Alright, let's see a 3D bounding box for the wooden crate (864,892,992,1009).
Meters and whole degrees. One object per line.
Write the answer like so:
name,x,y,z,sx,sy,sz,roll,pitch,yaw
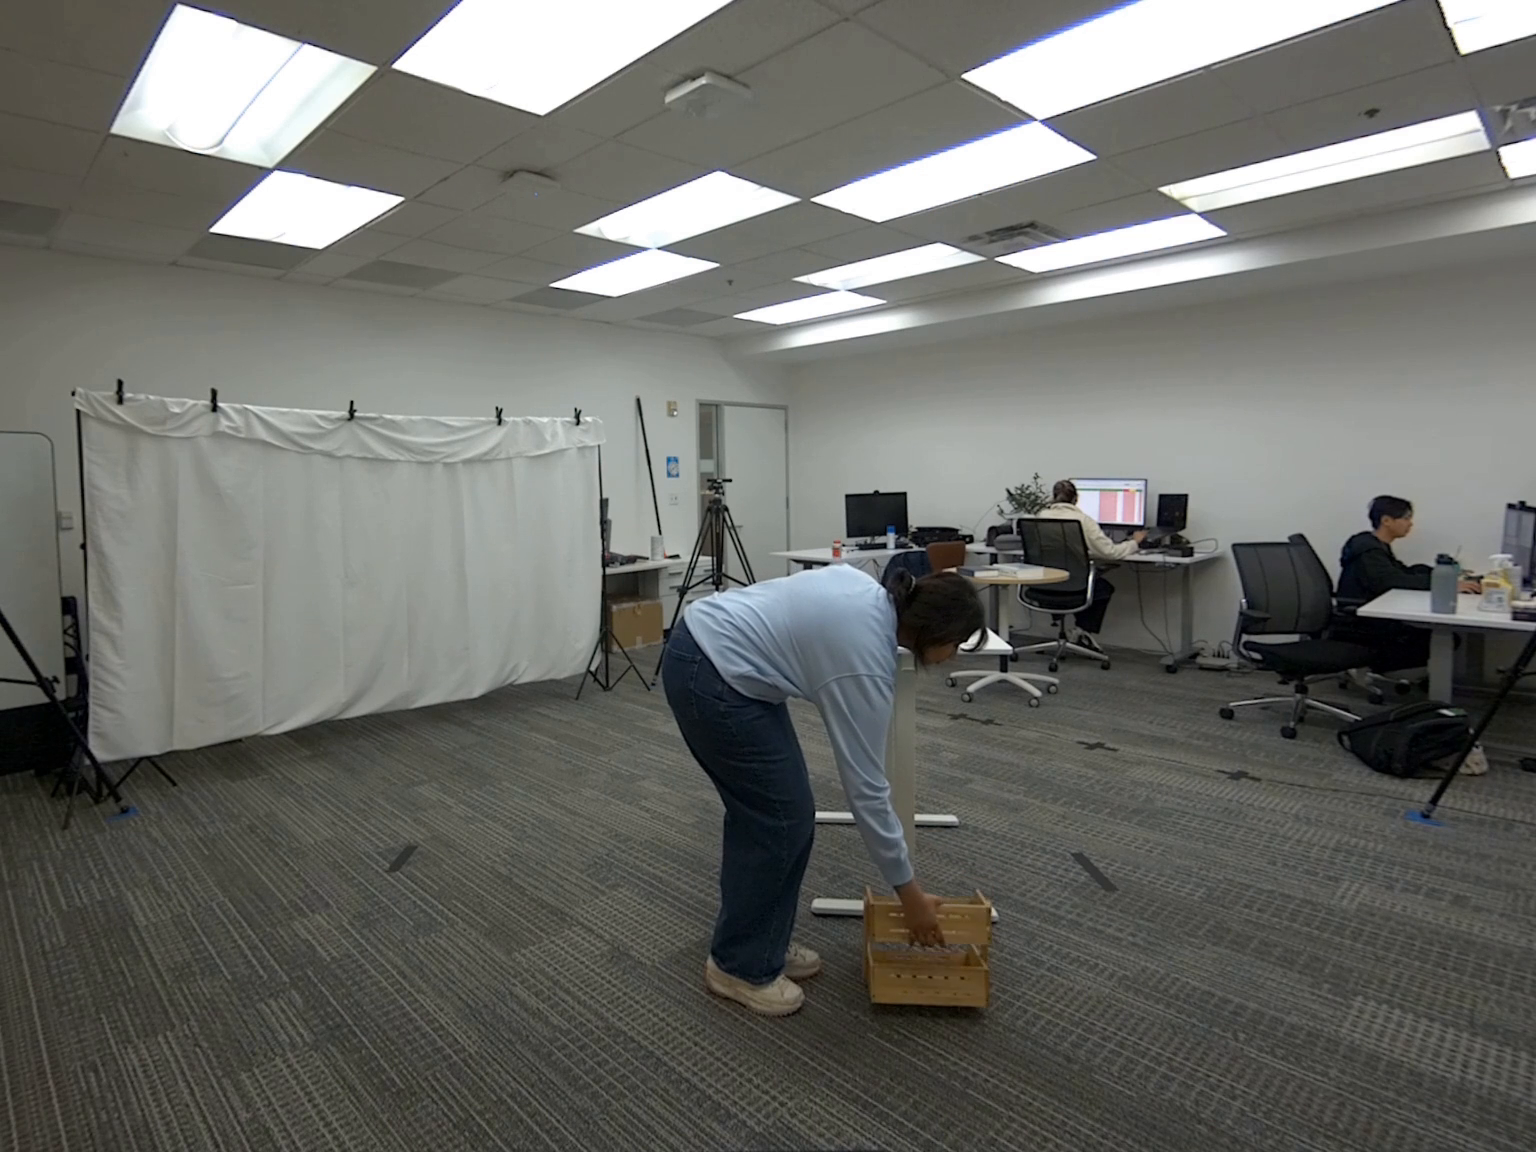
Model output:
wooden crate,0.416,0.962,2.321,0.326,0.274,0.299,0,-4,4
